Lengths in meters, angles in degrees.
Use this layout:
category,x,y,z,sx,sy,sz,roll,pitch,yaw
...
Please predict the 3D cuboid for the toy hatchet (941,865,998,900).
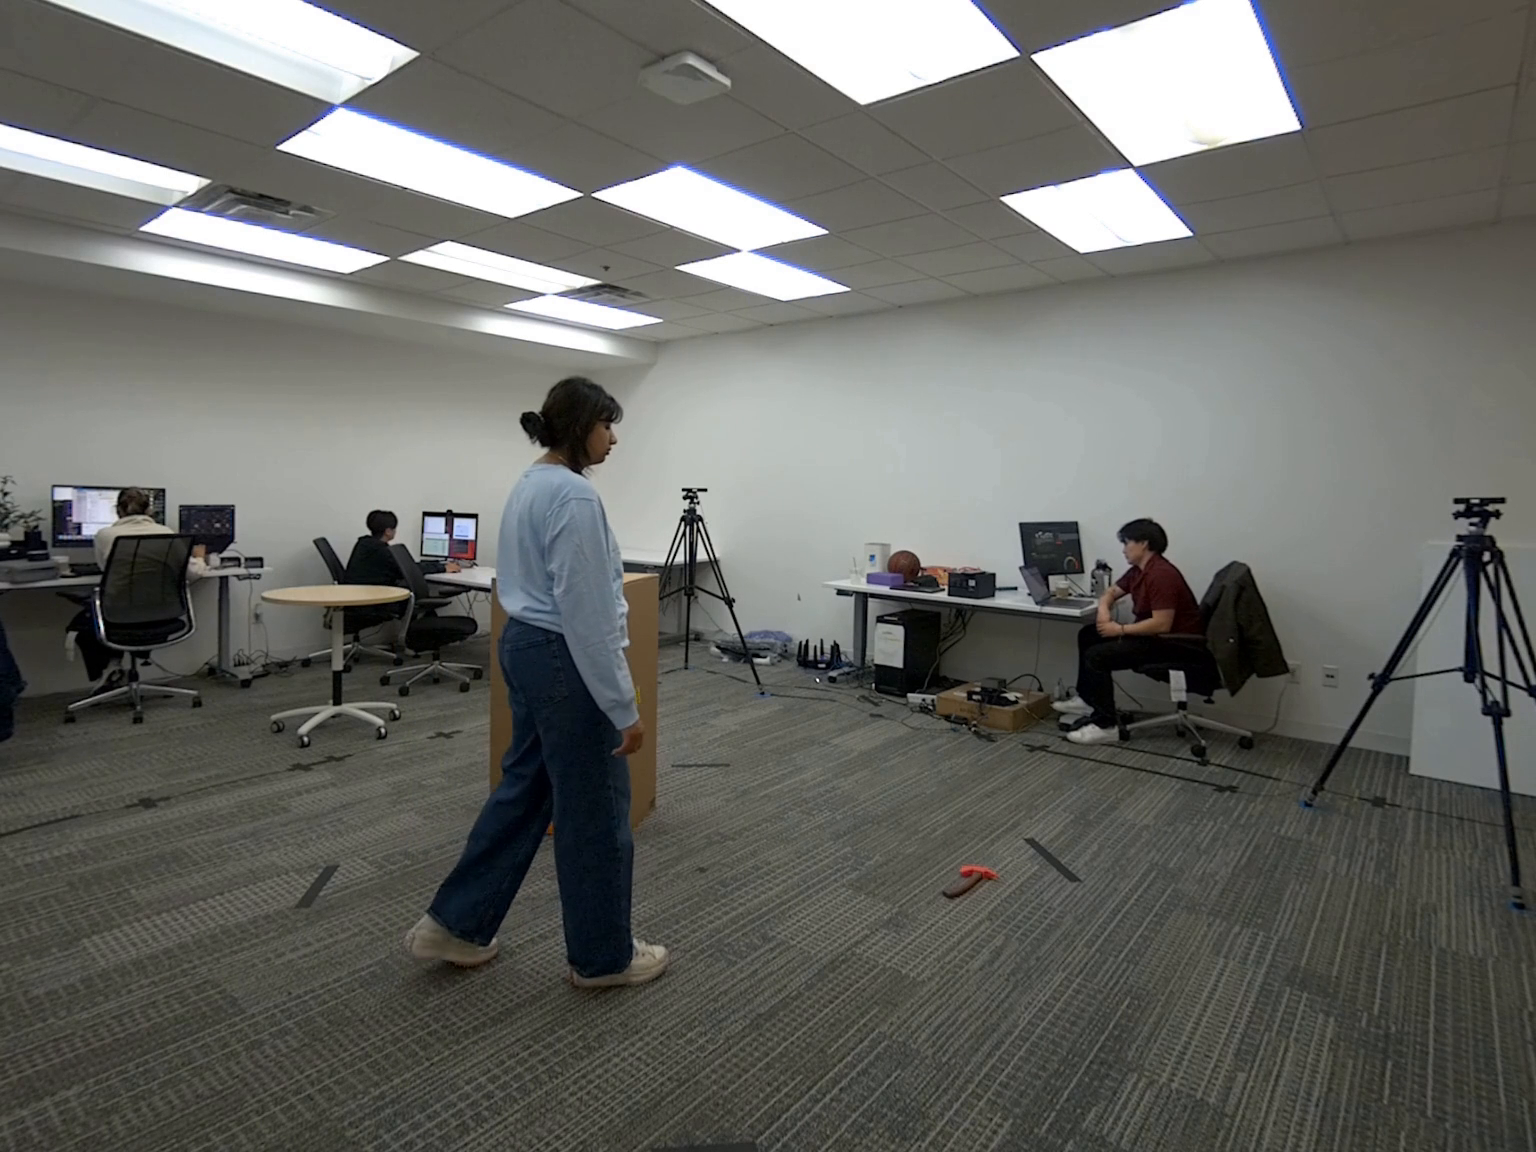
category,x,y,z,sx,sy,sz,roll,pitch,yaw
toy hatchet,0.691,1.091,3.051,0.263,0.029,0.135,-5,10,-35
